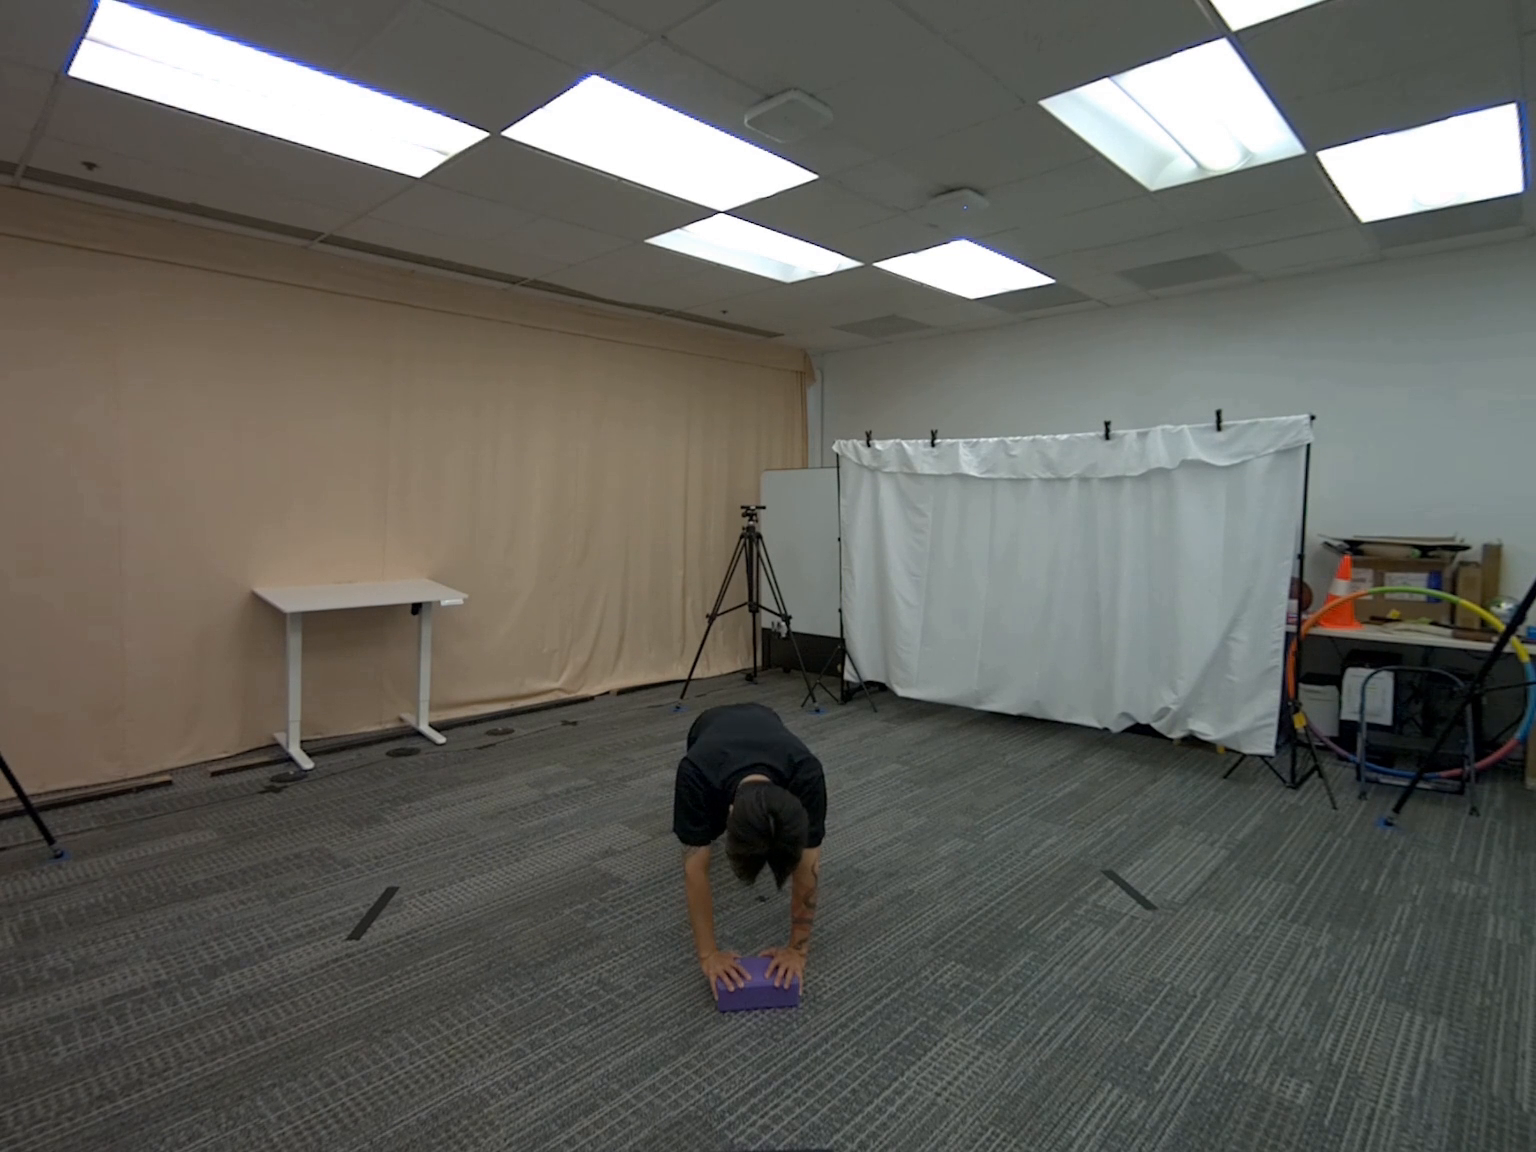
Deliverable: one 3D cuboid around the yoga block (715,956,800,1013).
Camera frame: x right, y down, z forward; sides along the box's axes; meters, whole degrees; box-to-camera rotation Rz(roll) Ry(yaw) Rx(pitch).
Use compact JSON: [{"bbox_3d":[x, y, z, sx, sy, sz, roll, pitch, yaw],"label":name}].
[{"bbox_3d":[-0.037,1.156,2.393,0.227,0.076,0.151,0,4,-9],"label":"yoga block"}]
